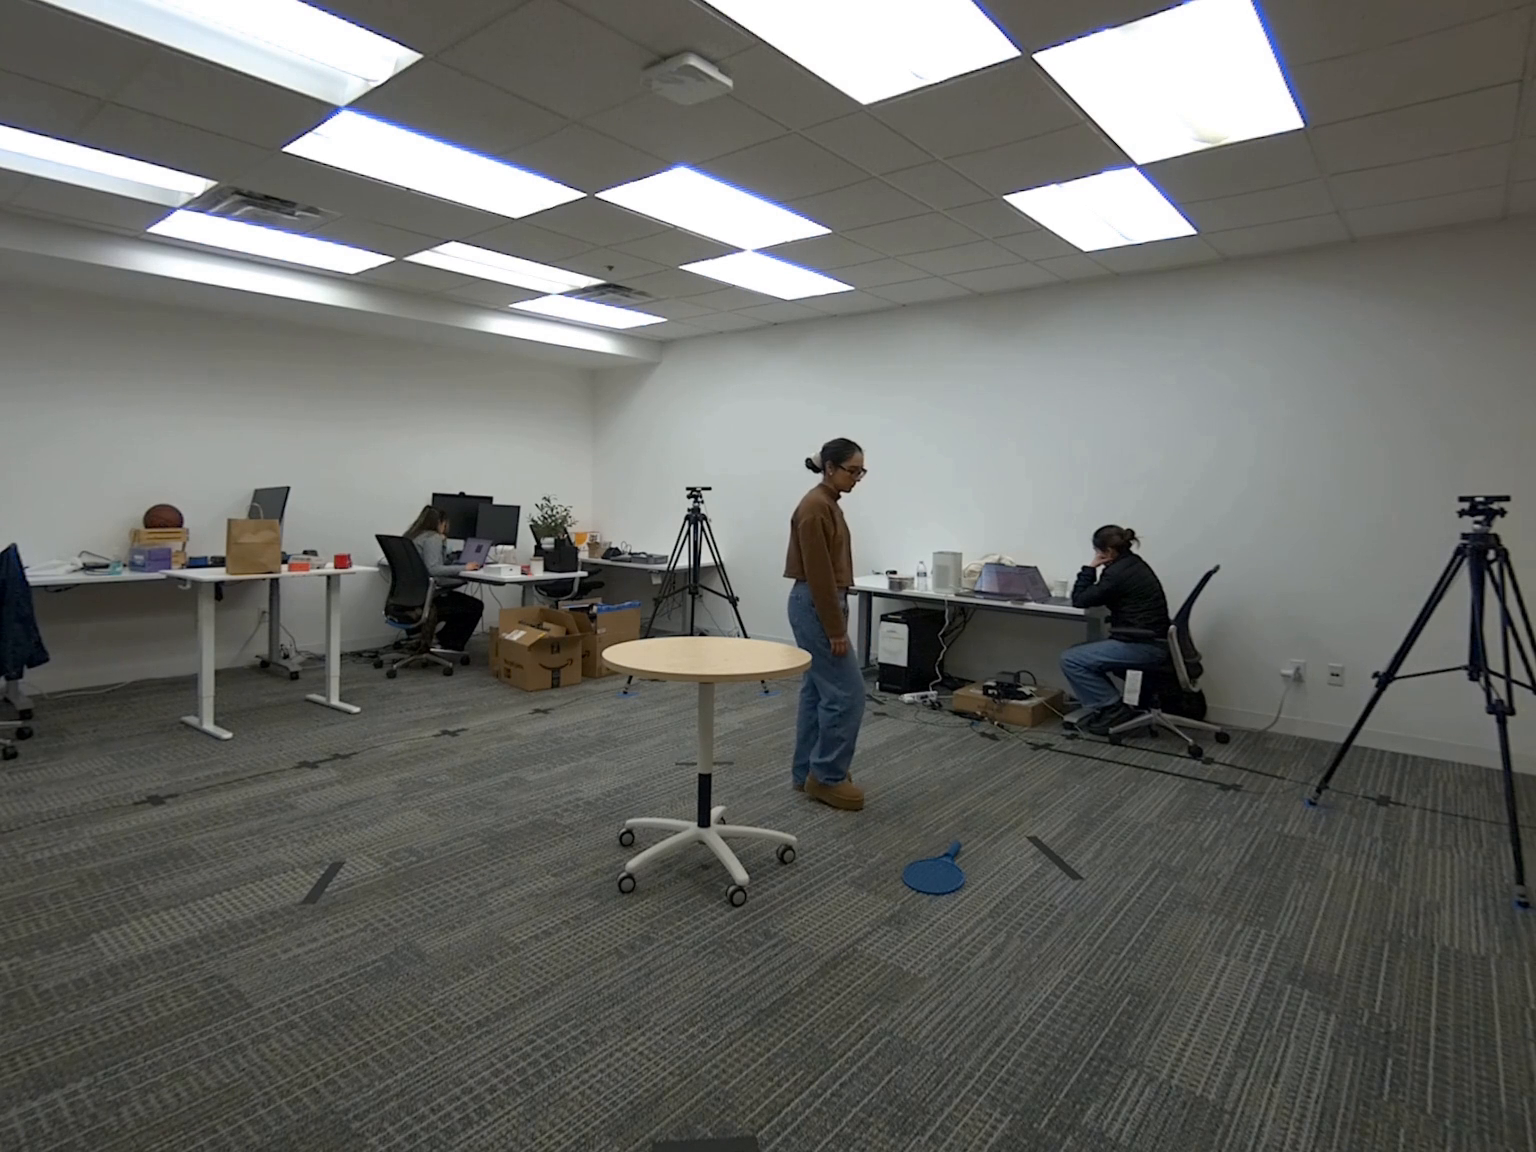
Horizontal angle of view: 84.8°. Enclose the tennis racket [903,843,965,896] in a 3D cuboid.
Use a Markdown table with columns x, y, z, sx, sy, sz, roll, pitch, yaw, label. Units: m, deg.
| x | y | z | sx | sy | sz | roll | pitch | yaw | label |
| --- | --- | --- | --- | --- | --- | --- | --- | --- | --- |
| 0.630 | 1.066 | 3.136 | 0.220 | 0.031 | 0.422 | 5 | 9 | 31 | tennis racket |
